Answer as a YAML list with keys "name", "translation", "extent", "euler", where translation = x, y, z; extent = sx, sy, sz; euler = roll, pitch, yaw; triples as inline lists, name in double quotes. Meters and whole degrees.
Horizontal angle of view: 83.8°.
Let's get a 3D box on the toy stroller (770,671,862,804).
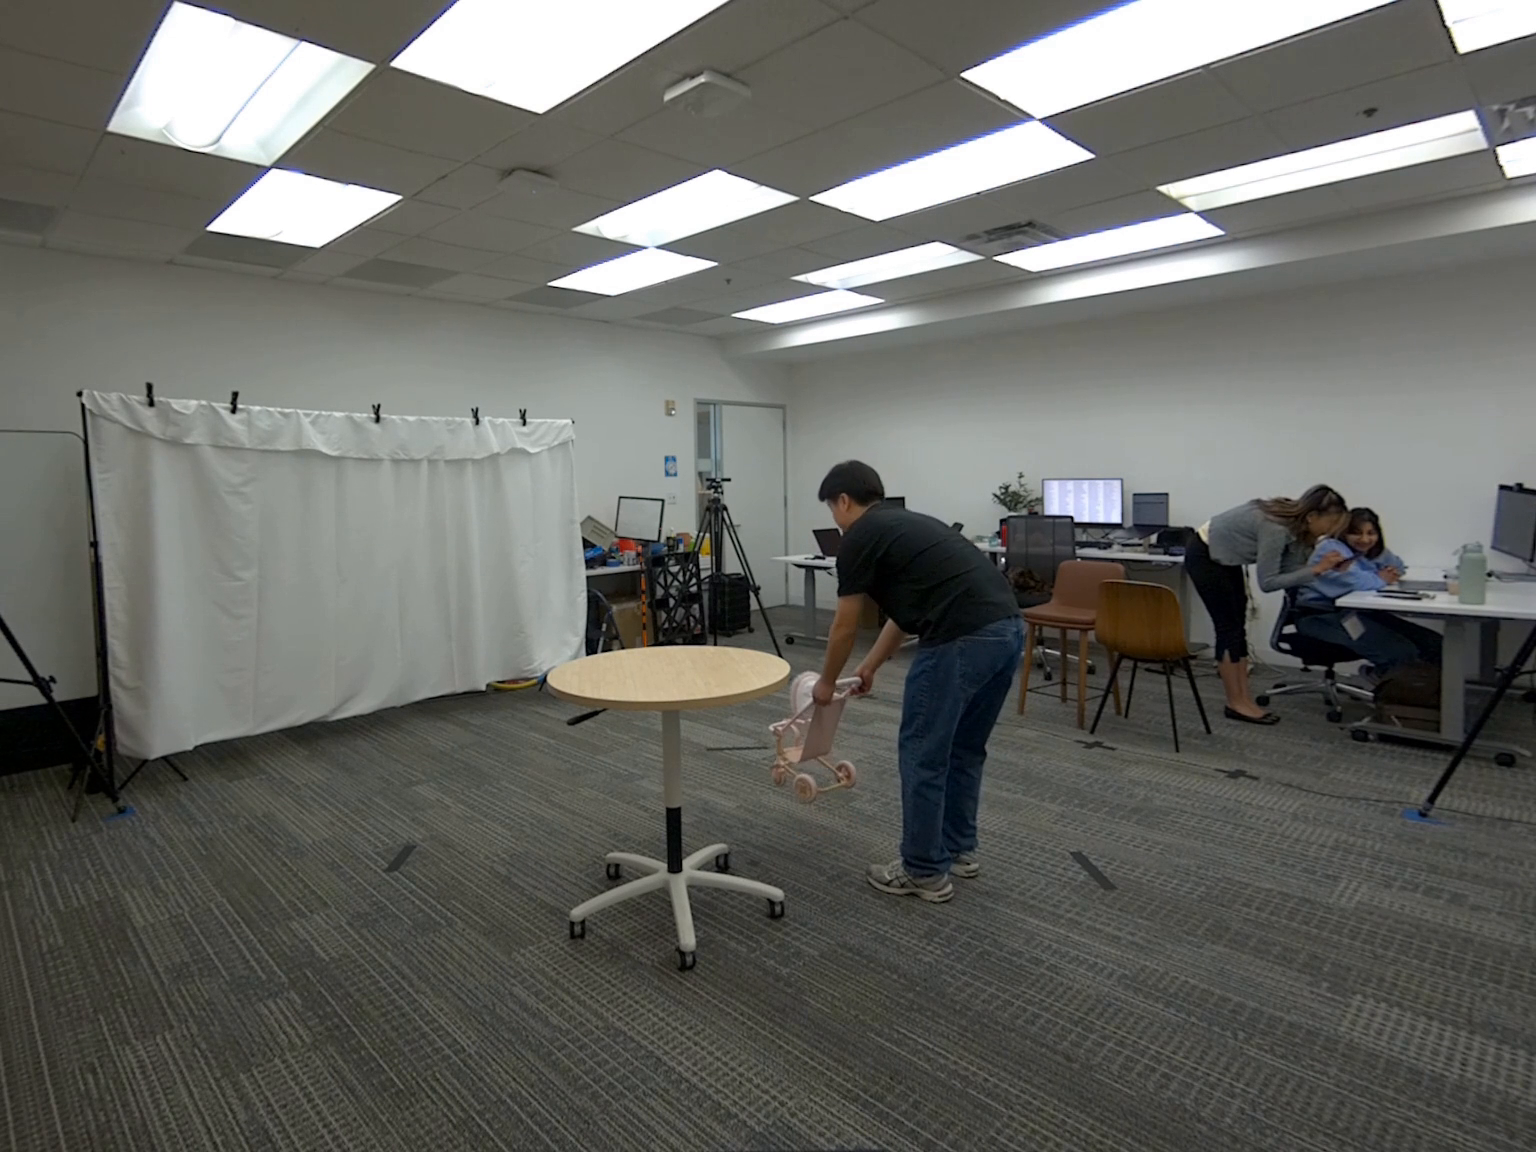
- name: "toy stroller"
  translation: [0.166, 0.616, 3.351]
  extent: [0.273, 0.531, 0.353]
  euler: [-2, 11, -42]
